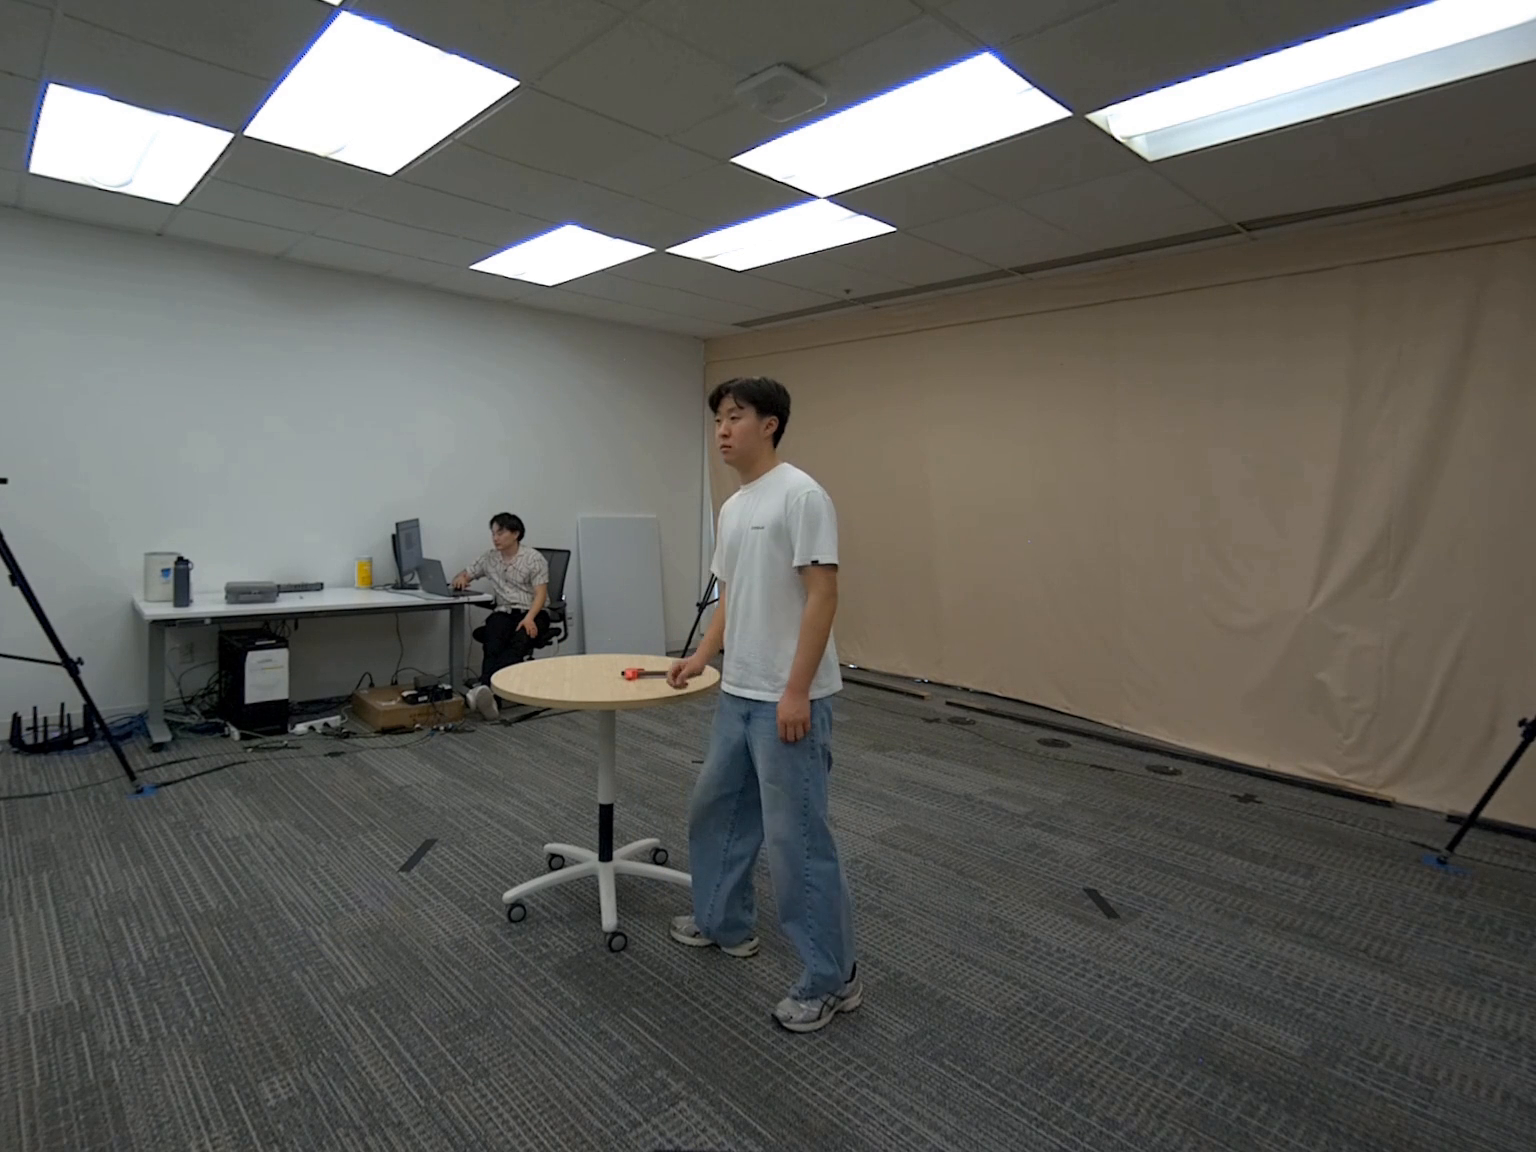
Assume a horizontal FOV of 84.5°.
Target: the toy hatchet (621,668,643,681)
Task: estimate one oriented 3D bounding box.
[{"bbox_3d":[-0.384,0.331,2.858,0.265,0.029,0.133,0,1,-27],"label":"toy hatchet"}]
